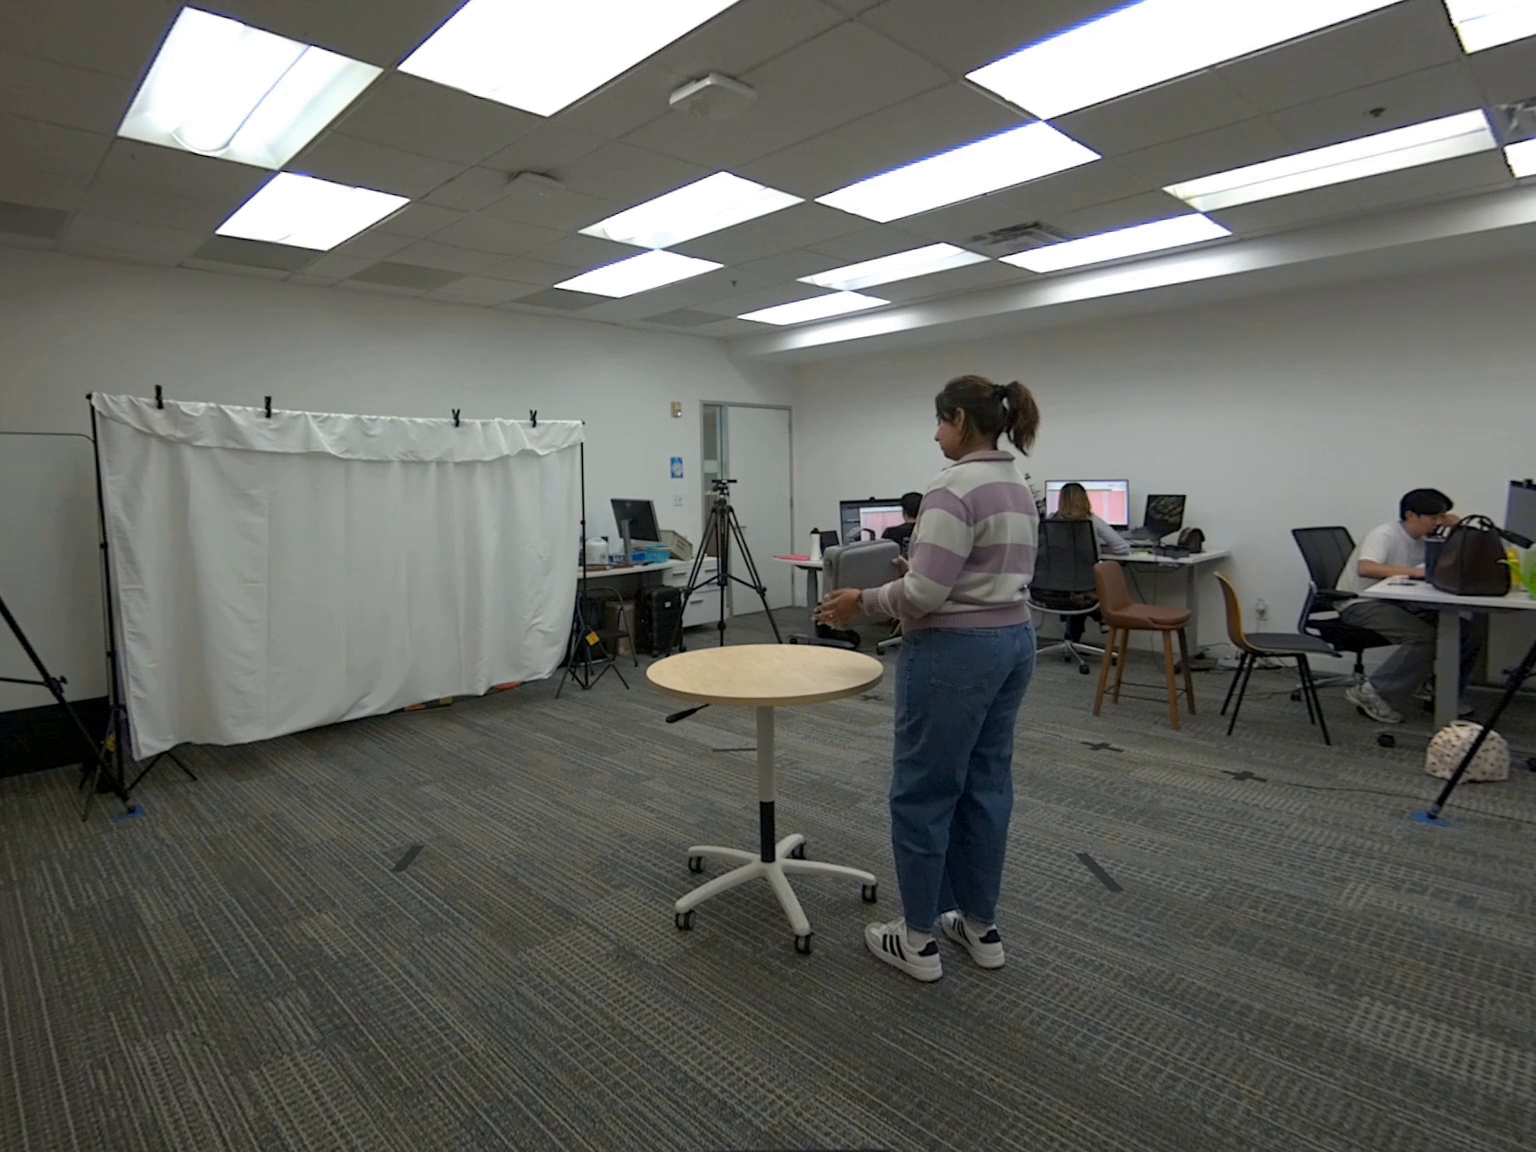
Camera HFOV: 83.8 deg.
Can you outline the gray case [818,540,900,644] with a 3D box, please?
[{"bbox_3d":[0.286,0.023,2.625,0.251,0.258,0.107,-7,13,-29],"label":"gray case"}]
